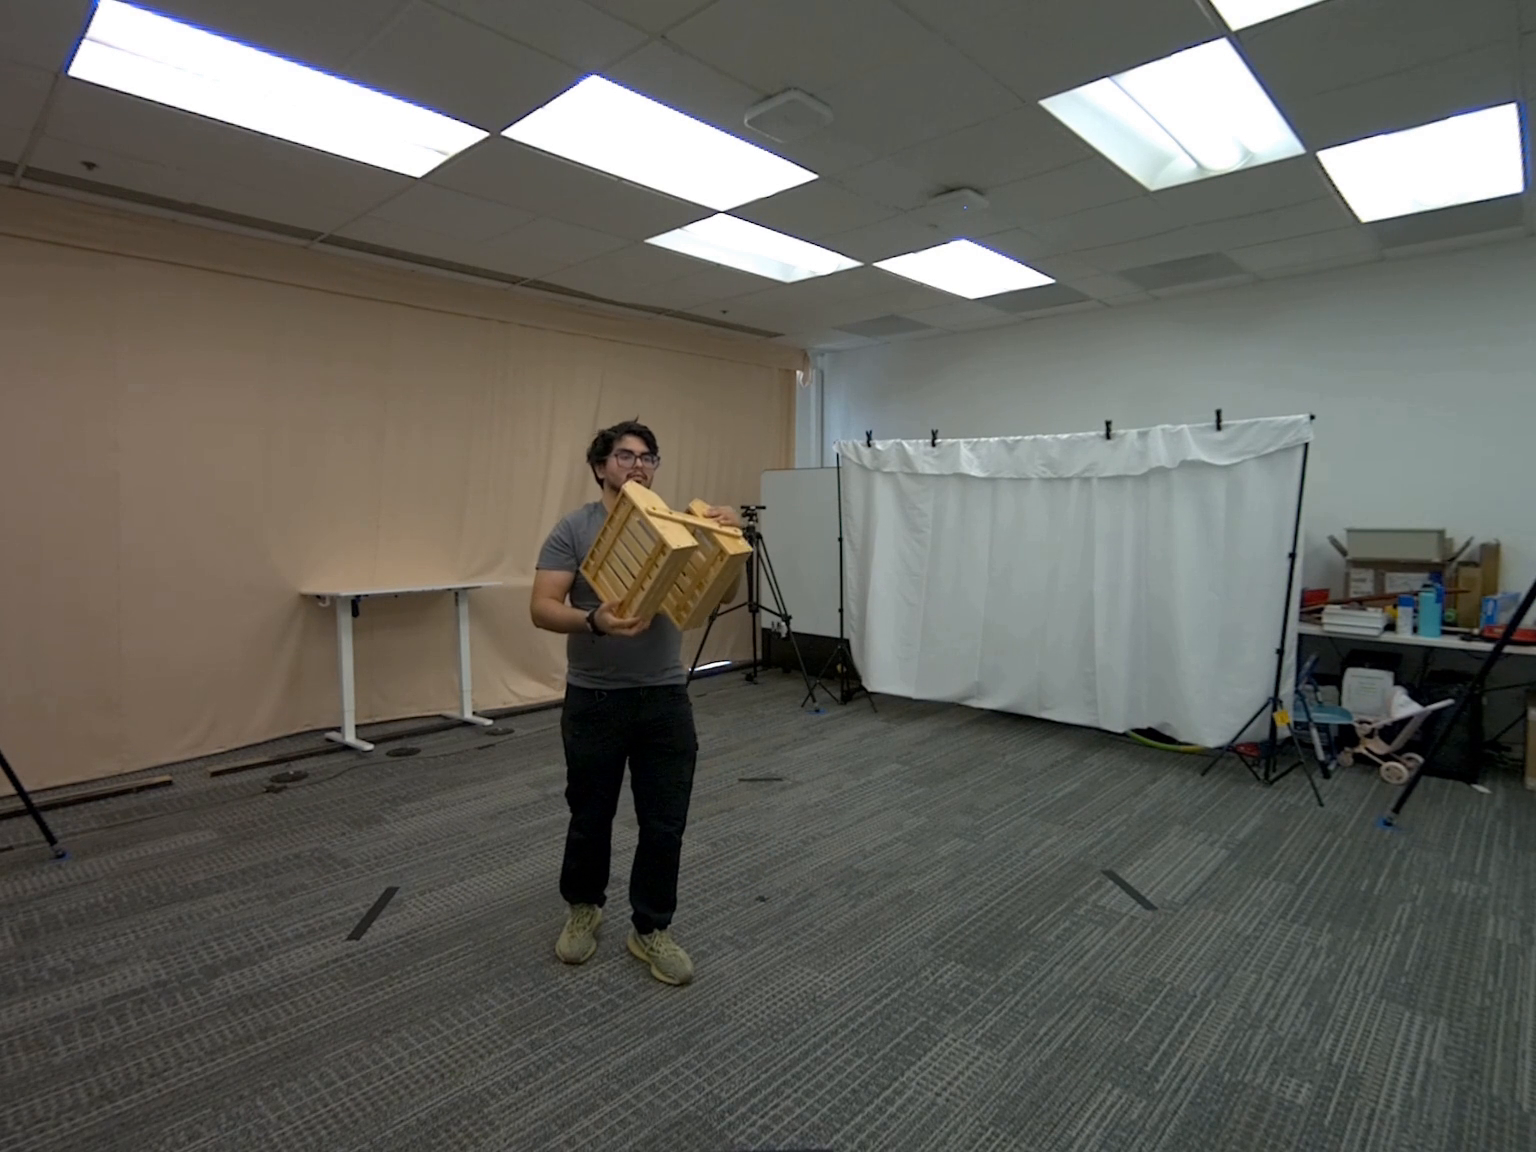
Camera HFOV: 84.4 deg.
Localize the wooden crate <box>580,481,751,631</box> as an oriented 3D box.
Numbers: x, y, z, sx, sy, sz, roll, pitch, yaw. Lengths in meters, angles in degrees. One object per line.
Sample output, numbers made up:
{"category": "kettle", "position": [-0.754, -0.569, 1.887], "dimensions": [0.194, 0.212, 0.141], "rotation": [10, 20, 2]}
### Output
{"category": "wooden crate", "position": [-0.275, -0.049, 2.265], "dimensions": [0.266, 0.325, 0.310], "rotation": [-11, 53, -48]}
